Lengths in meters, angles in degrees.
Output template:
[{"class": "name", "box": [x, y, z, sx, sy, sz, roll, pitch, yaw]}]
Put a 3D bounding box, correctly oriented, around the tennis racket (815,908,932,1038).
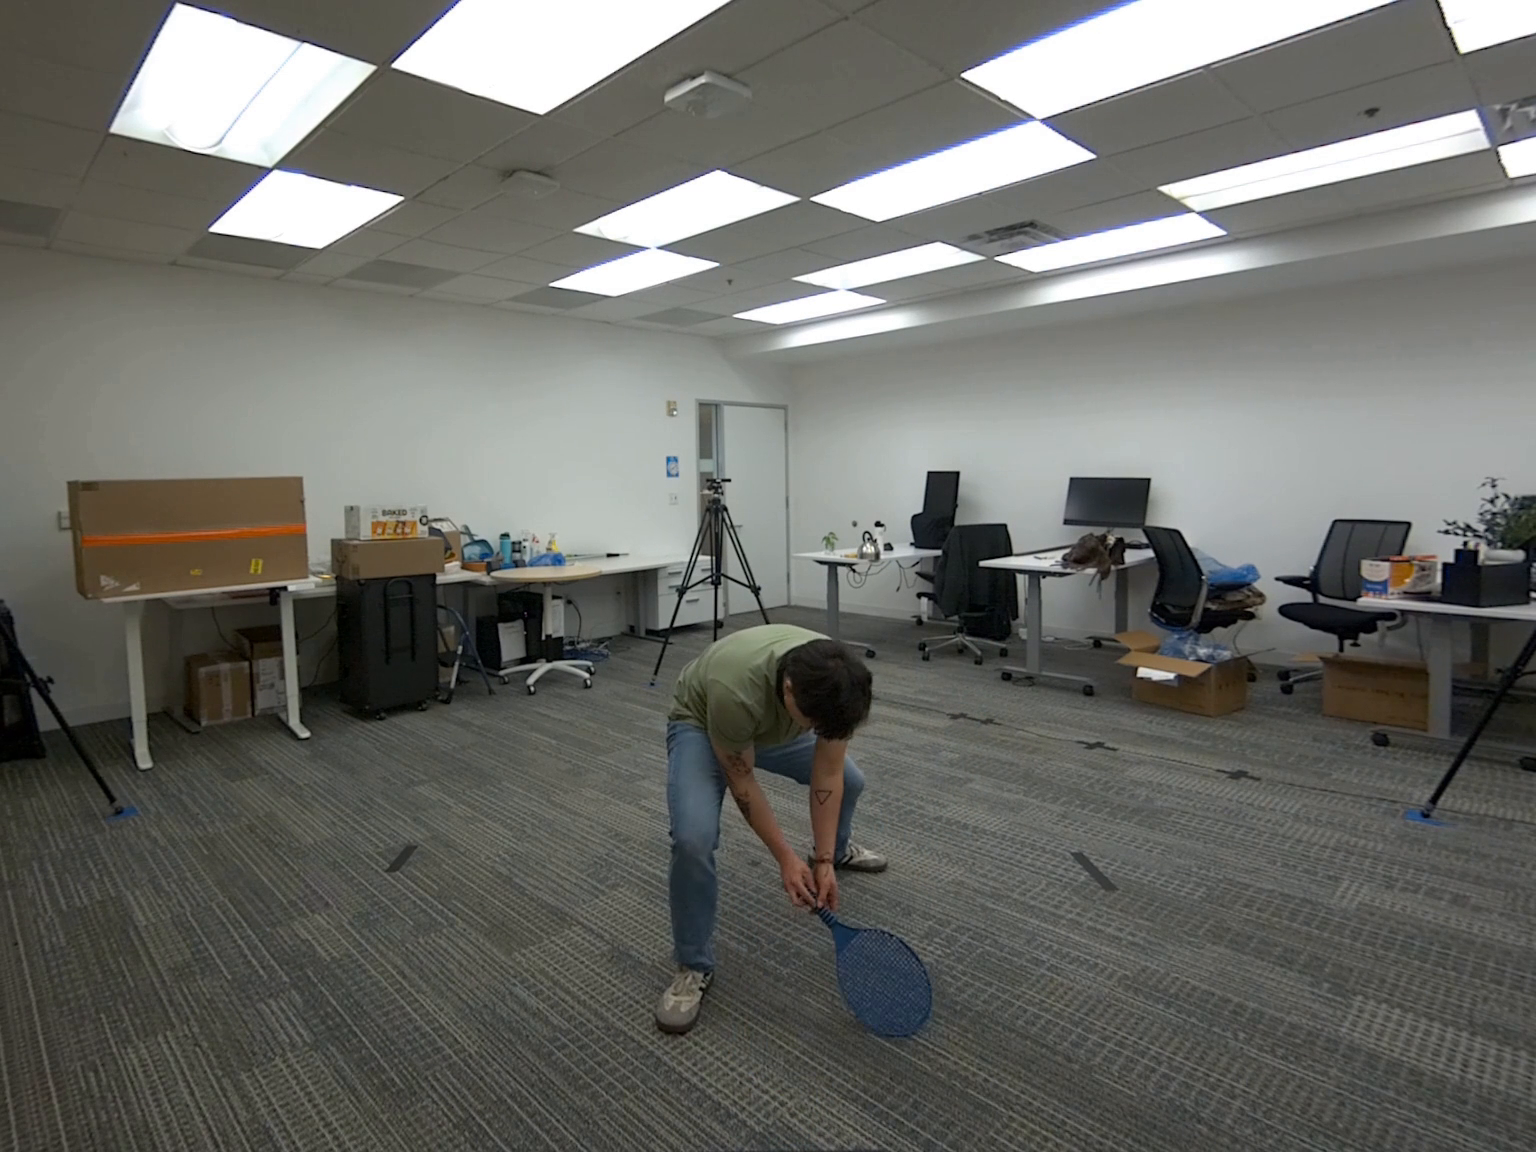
[{"class": "tennis racket", "box": [0.234, 0.984, 2.218, 0.442, 0.214, 0.031, 35, -12, 16]}]
